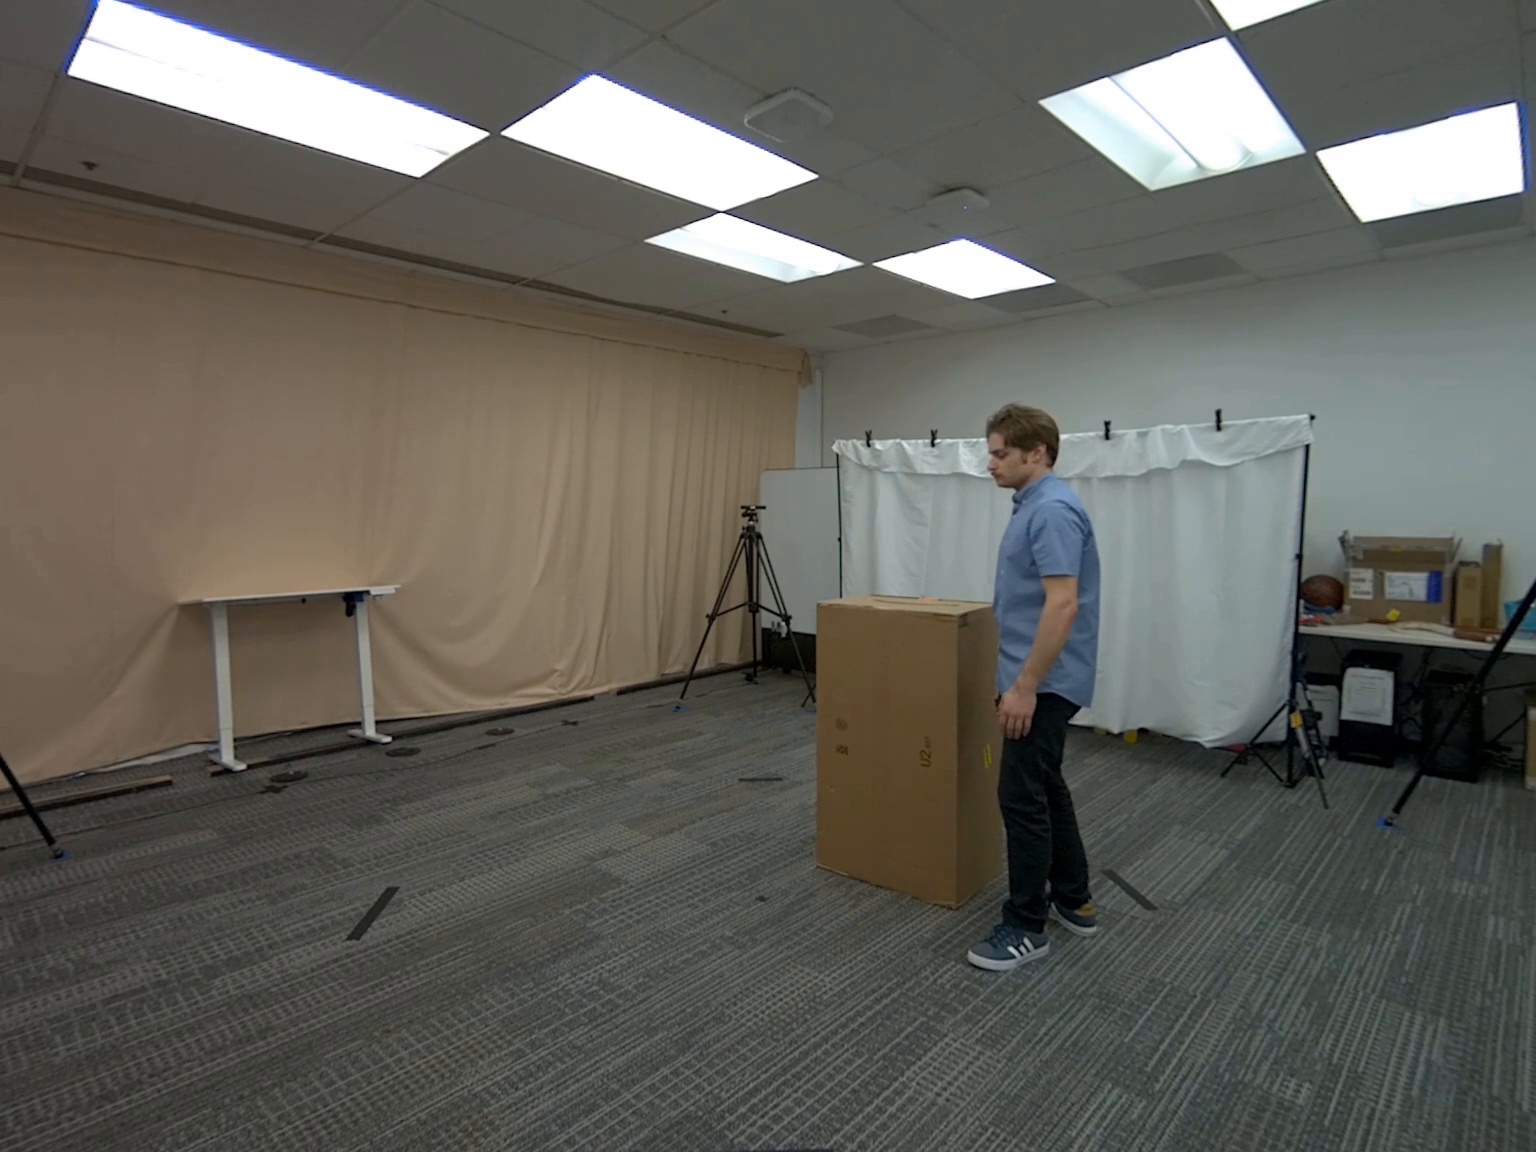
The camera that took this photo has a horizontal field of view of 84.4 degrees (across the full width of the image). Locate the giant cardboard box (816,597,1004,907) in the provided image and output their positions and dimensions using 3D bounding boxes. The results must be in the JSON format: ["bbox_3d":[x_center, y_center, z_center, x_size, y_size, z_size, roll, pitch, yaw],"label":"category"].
[{"bbox_3d":[0.540,0.614,3.215,0.596,1.024,0.413,2,3,39],"label":"giant cardboard box"}]
